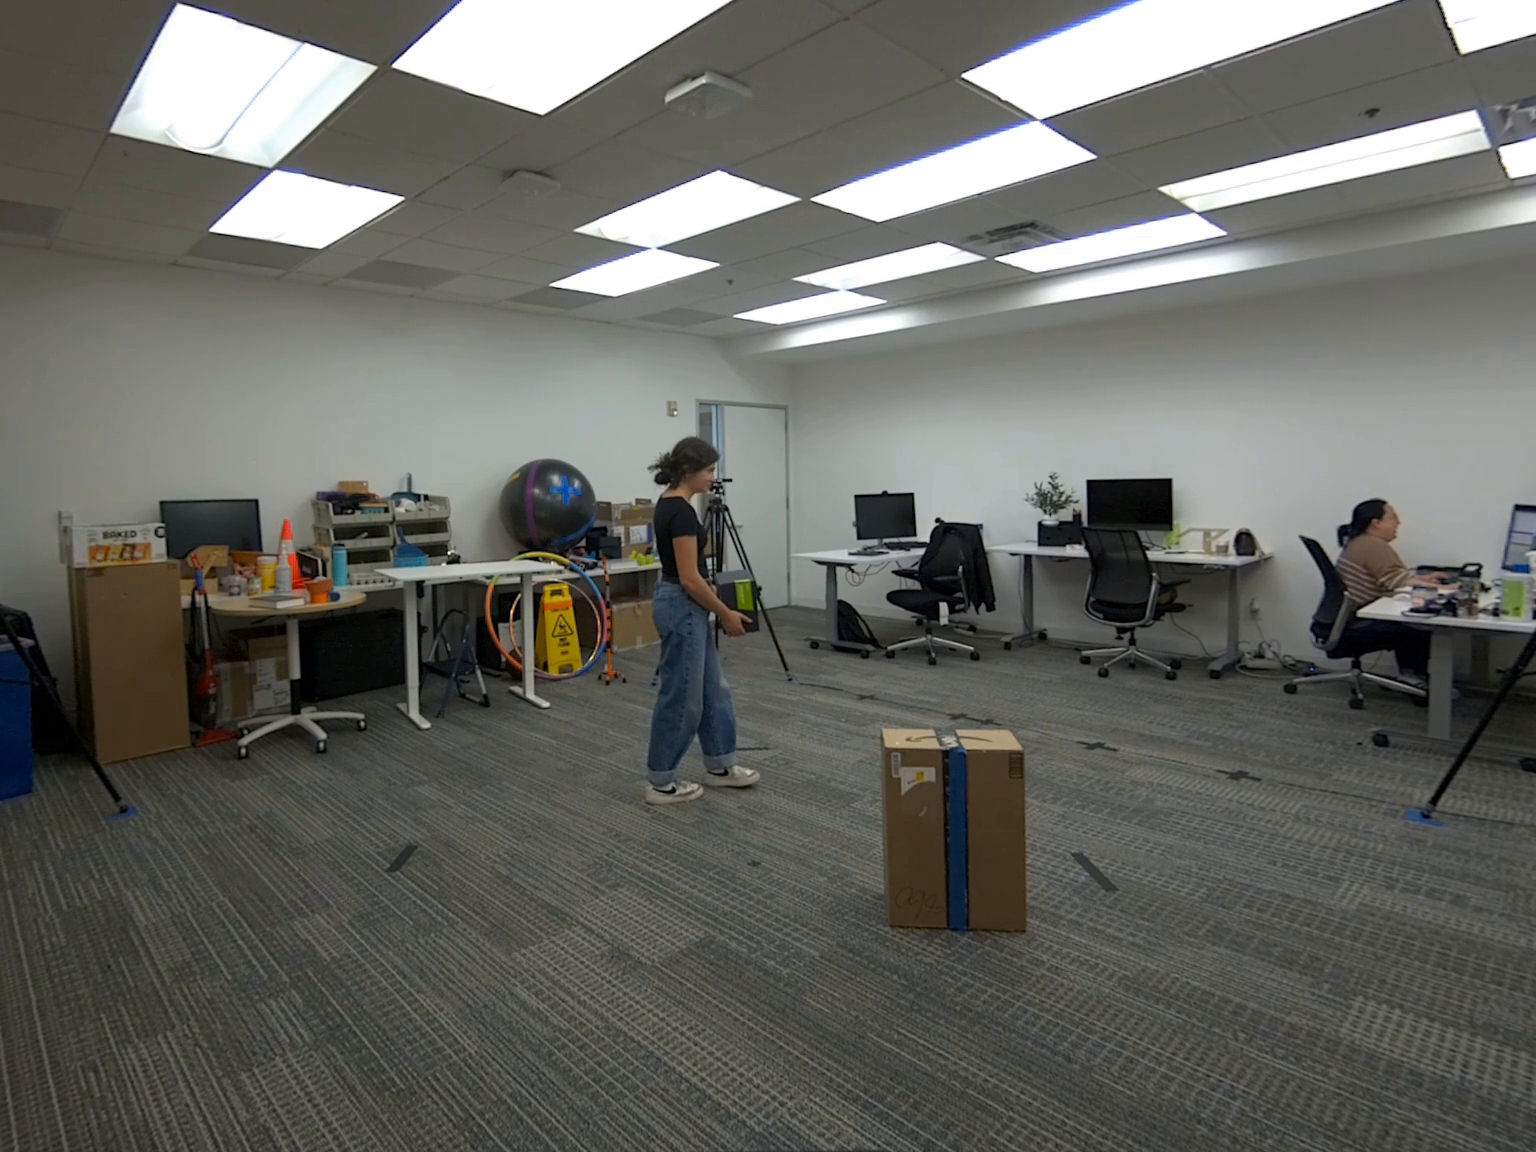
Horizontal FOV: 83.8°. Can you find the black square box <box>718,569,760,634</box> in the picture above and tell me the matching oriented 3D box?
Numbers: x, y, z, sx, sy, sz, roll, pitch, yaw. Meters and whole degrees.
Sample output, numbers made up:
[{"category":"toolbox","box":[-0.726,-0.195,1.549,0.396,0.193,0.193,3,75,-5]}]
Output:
[{"category":"black square box","box":[-0.130,0.105,3.752,0.155,0.226,0.220,-3,11,-5]}]
